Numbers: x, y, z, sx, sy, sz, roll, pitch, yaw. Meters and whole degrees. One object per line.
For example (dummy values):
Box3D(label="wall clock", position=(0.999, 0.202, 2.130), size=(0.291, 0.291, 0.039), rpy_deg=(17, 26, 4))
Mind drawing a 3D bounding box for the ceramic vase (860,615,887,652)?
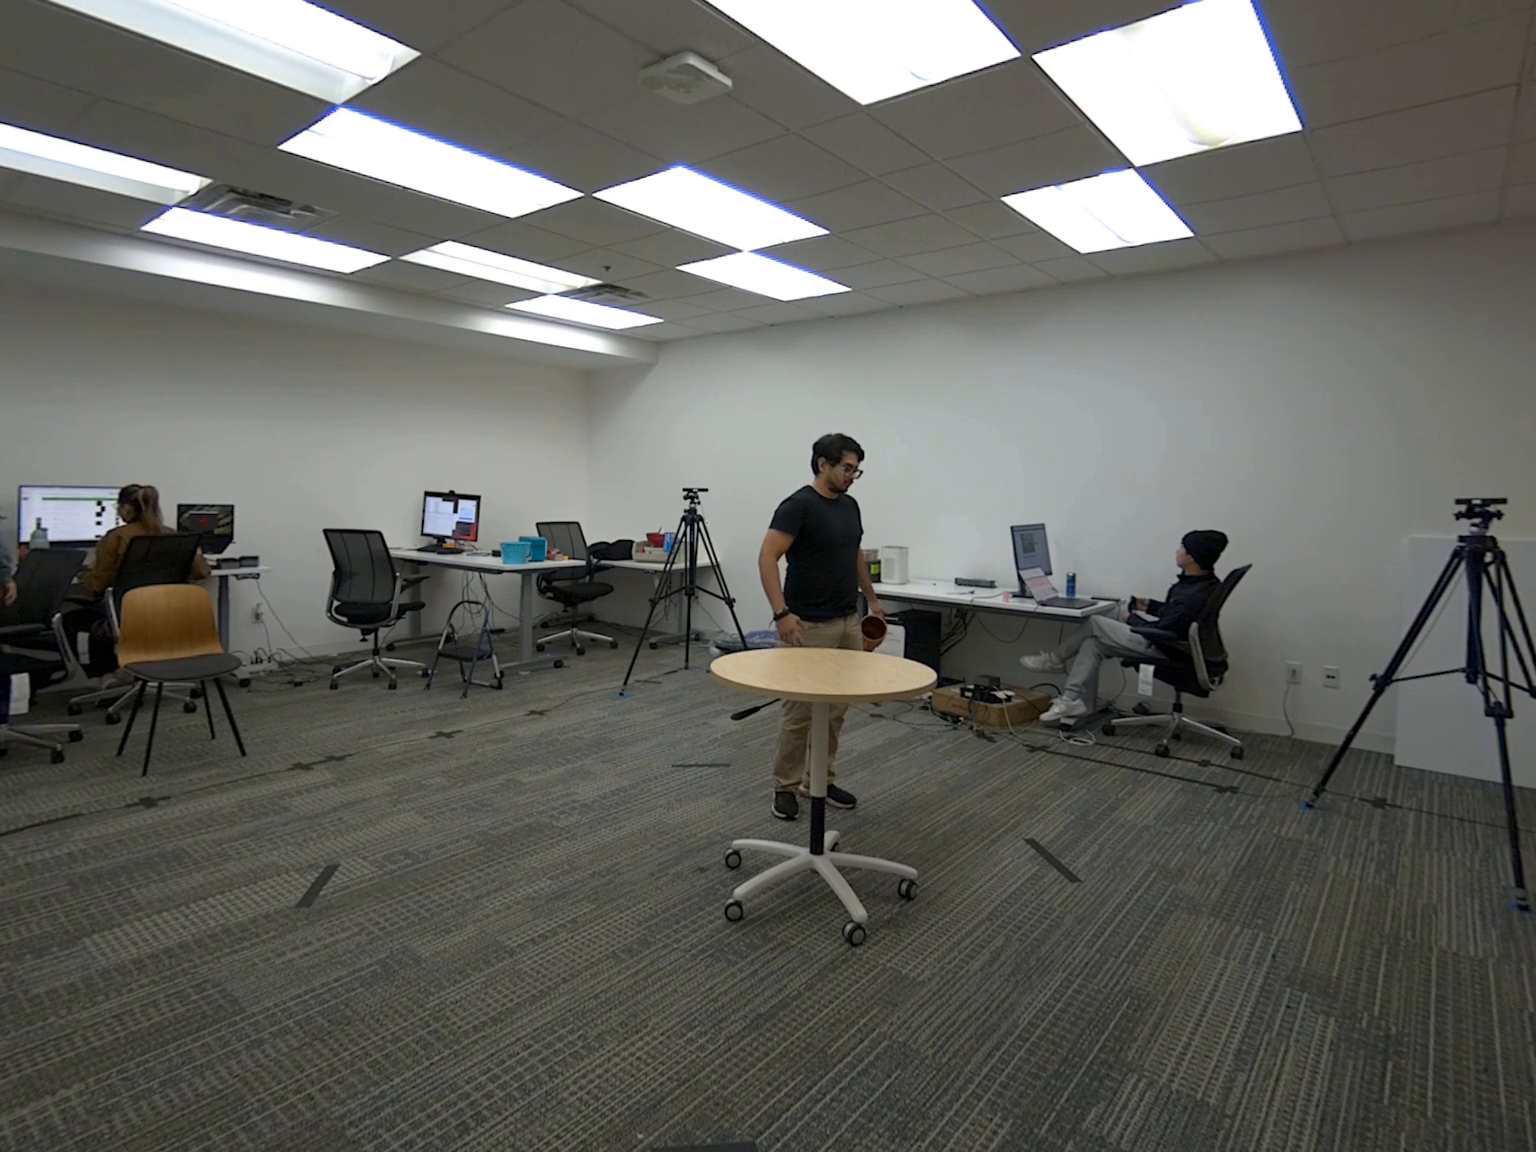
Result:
Box3D(label="ceramic vase", position=(0.469, 0.274, 4.016), size=(0.158, 0.138, 0.215), rpy_deg=(-20, -22, -10))
